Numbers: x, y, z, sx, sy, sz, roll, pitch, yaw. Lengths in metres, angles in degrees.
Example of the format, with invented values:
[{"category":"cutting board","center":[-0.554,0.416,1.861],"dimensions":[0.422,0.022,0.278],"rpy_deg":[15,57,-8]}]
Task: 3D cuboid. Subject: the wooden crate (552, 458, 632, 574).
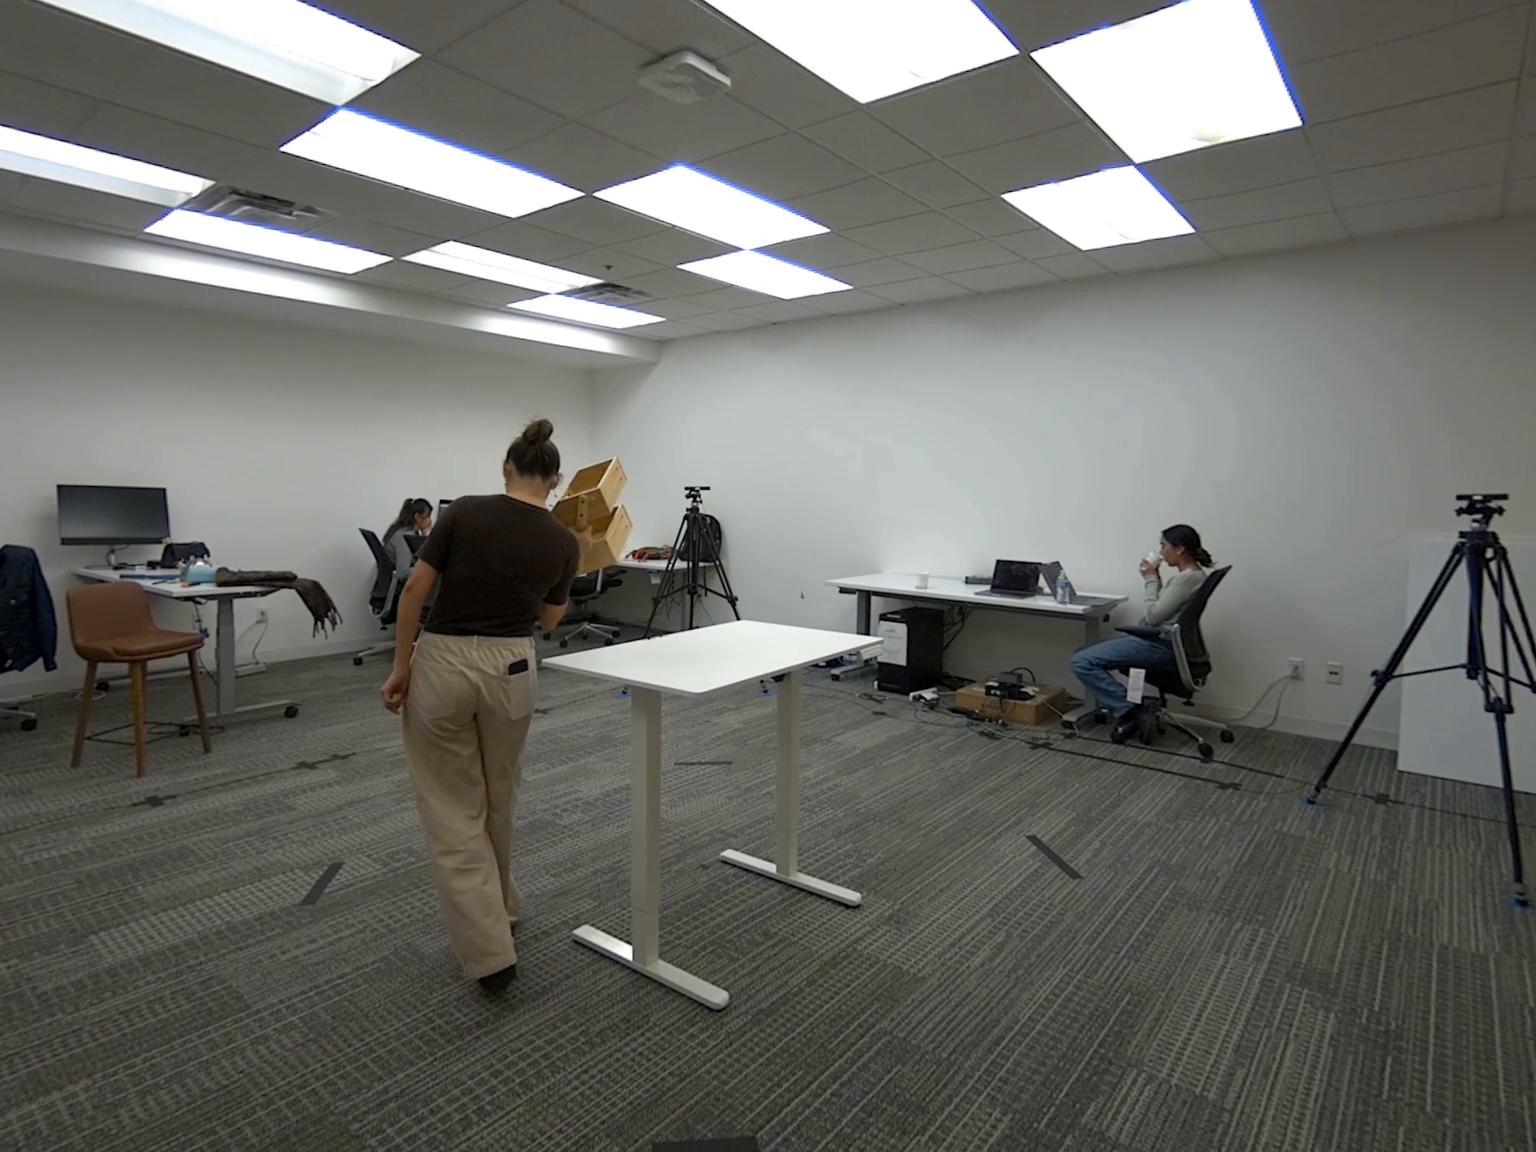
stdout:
[{"category":"wooden crate","center":[-0.631,-0.201,2.855],"dimensions":[0.305,0.266,0.330],"rpy_deg":[-17,23,12]}]
